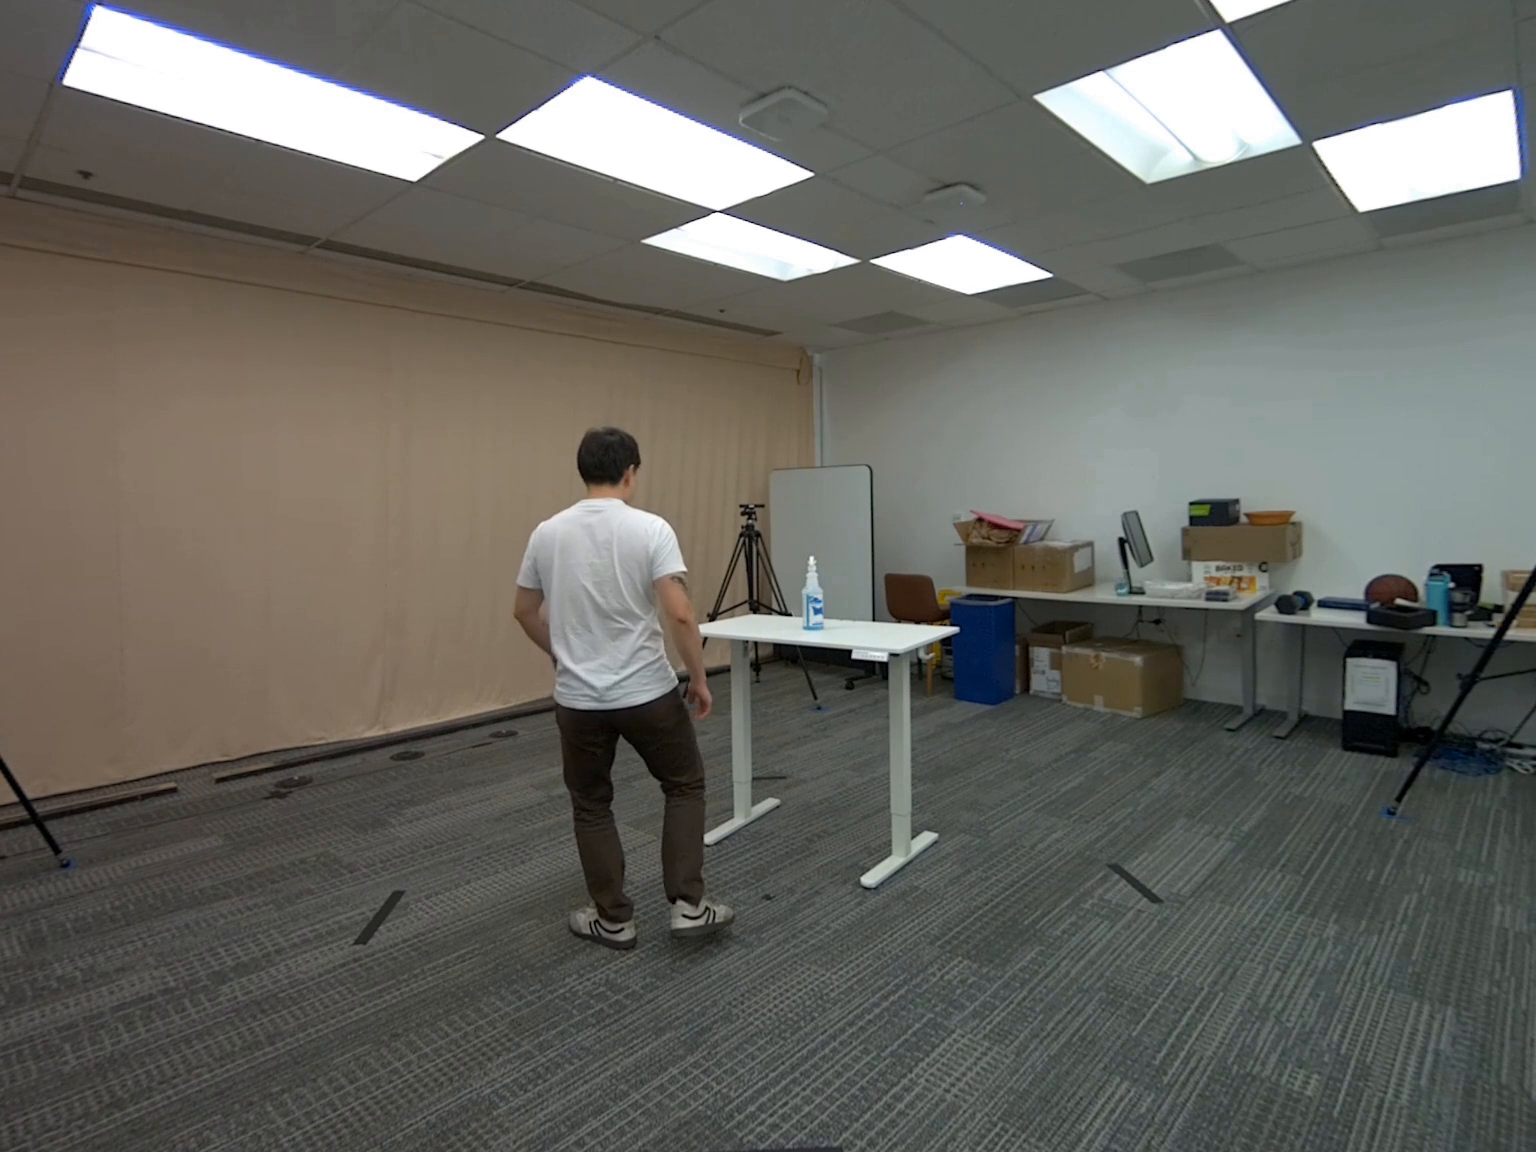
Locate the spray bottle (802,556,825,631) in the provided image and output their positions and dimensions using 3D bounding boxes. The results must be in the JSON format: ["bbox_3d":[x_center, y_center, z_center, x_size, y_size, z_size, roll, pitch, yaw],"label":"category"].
[{"bbox_3d":[0.186,0.072,3.433,0.089,0.297,0.087,-1,1,30],"label":"spray bottle"}]
